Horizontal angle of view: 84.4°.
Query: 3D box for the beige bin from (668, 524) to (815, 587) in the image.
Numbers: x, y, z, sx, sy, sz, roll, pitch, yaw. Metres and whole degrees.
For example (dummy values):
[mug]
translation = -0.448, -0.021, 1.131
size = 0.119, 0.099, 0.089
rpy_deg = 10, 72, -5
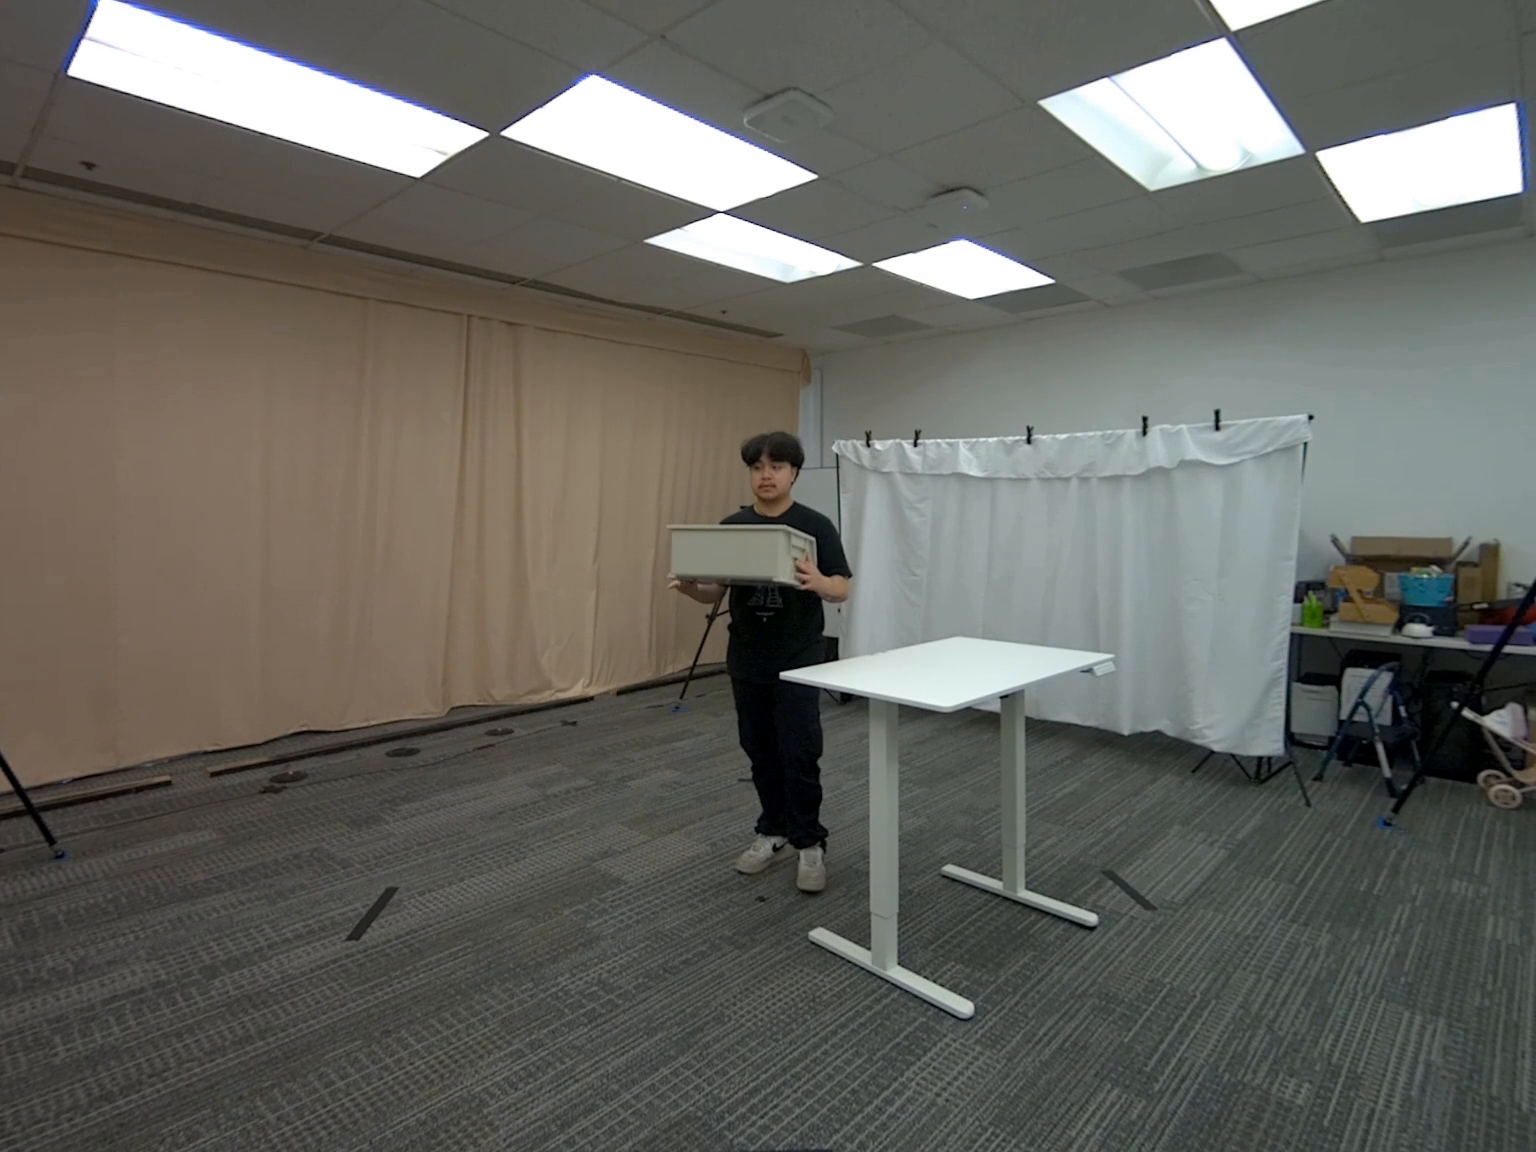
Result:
[beige bin]
translation = -0.086, -0.058, 2.913
size = 0.432, 0.189, 0.368
rpy_deg = 1, -4, 21
